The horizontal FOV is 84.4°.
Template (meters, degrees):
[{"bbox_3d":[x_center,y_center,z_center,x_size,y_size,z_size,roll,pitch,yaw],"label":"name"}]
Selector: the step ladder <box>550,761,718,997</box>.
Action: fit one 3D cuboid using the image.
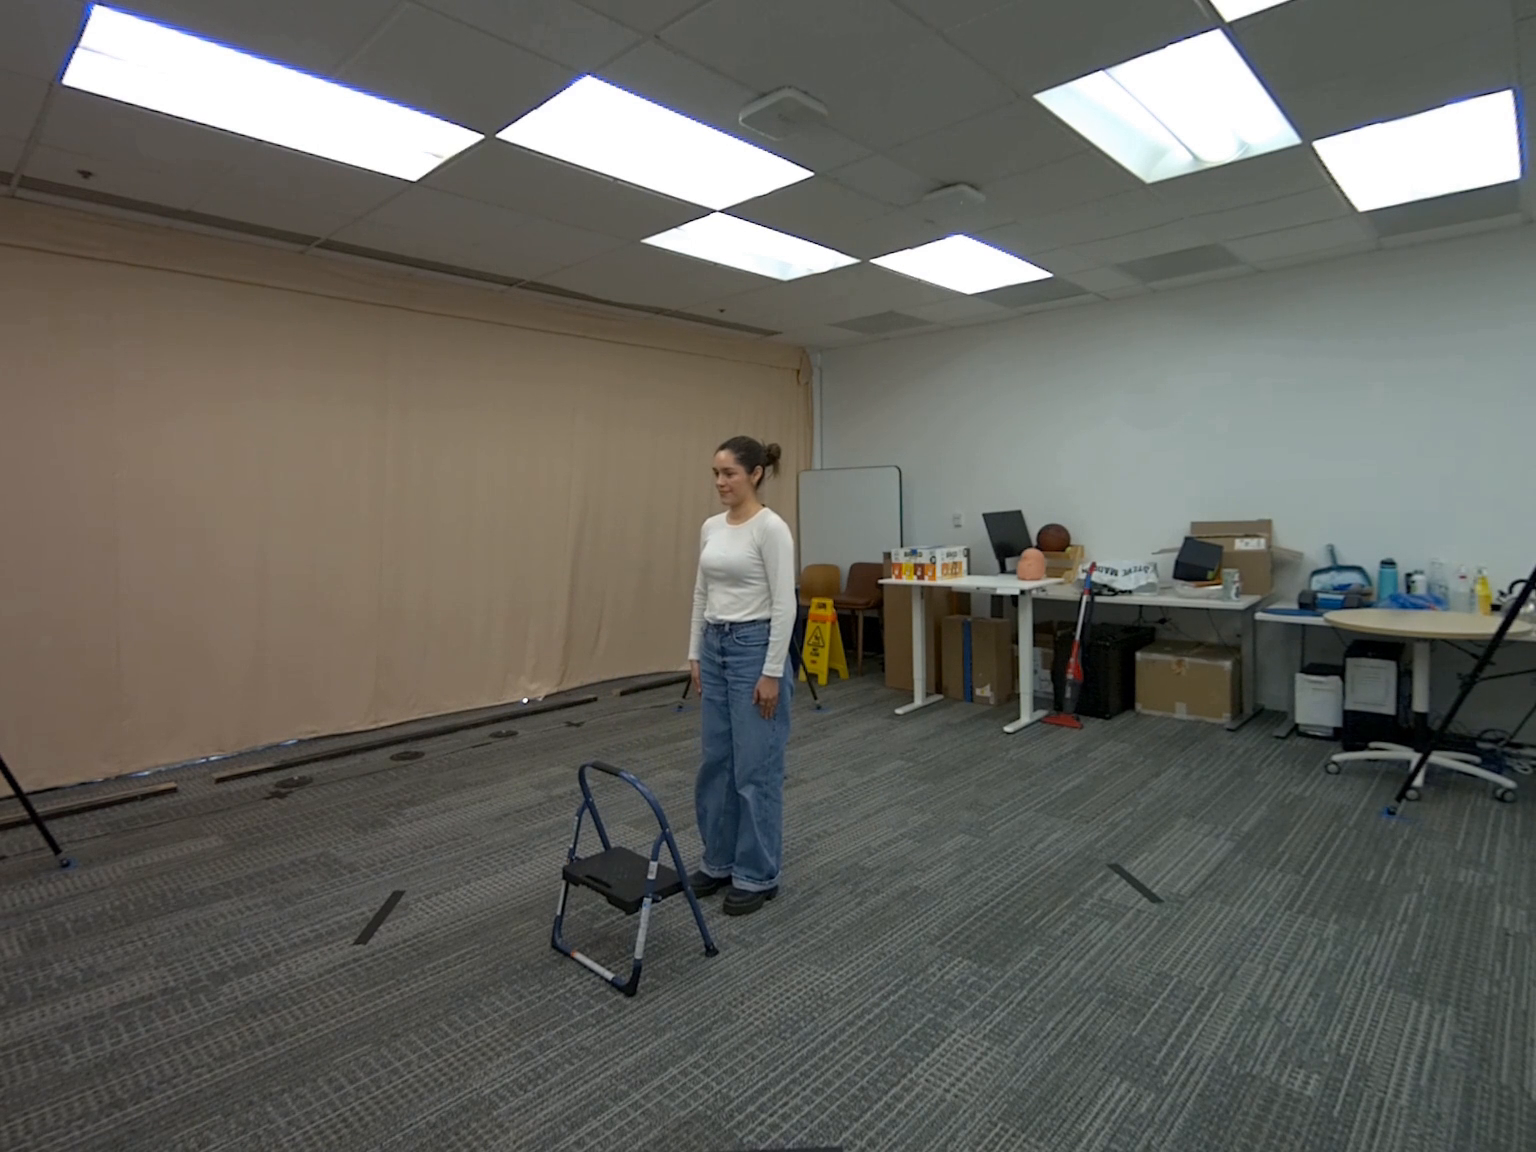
[{"bbox_3d":[-0.430,0.877,2.636,0.445,0.605,0.339,2,4,43],"label":"step ladder"}]
